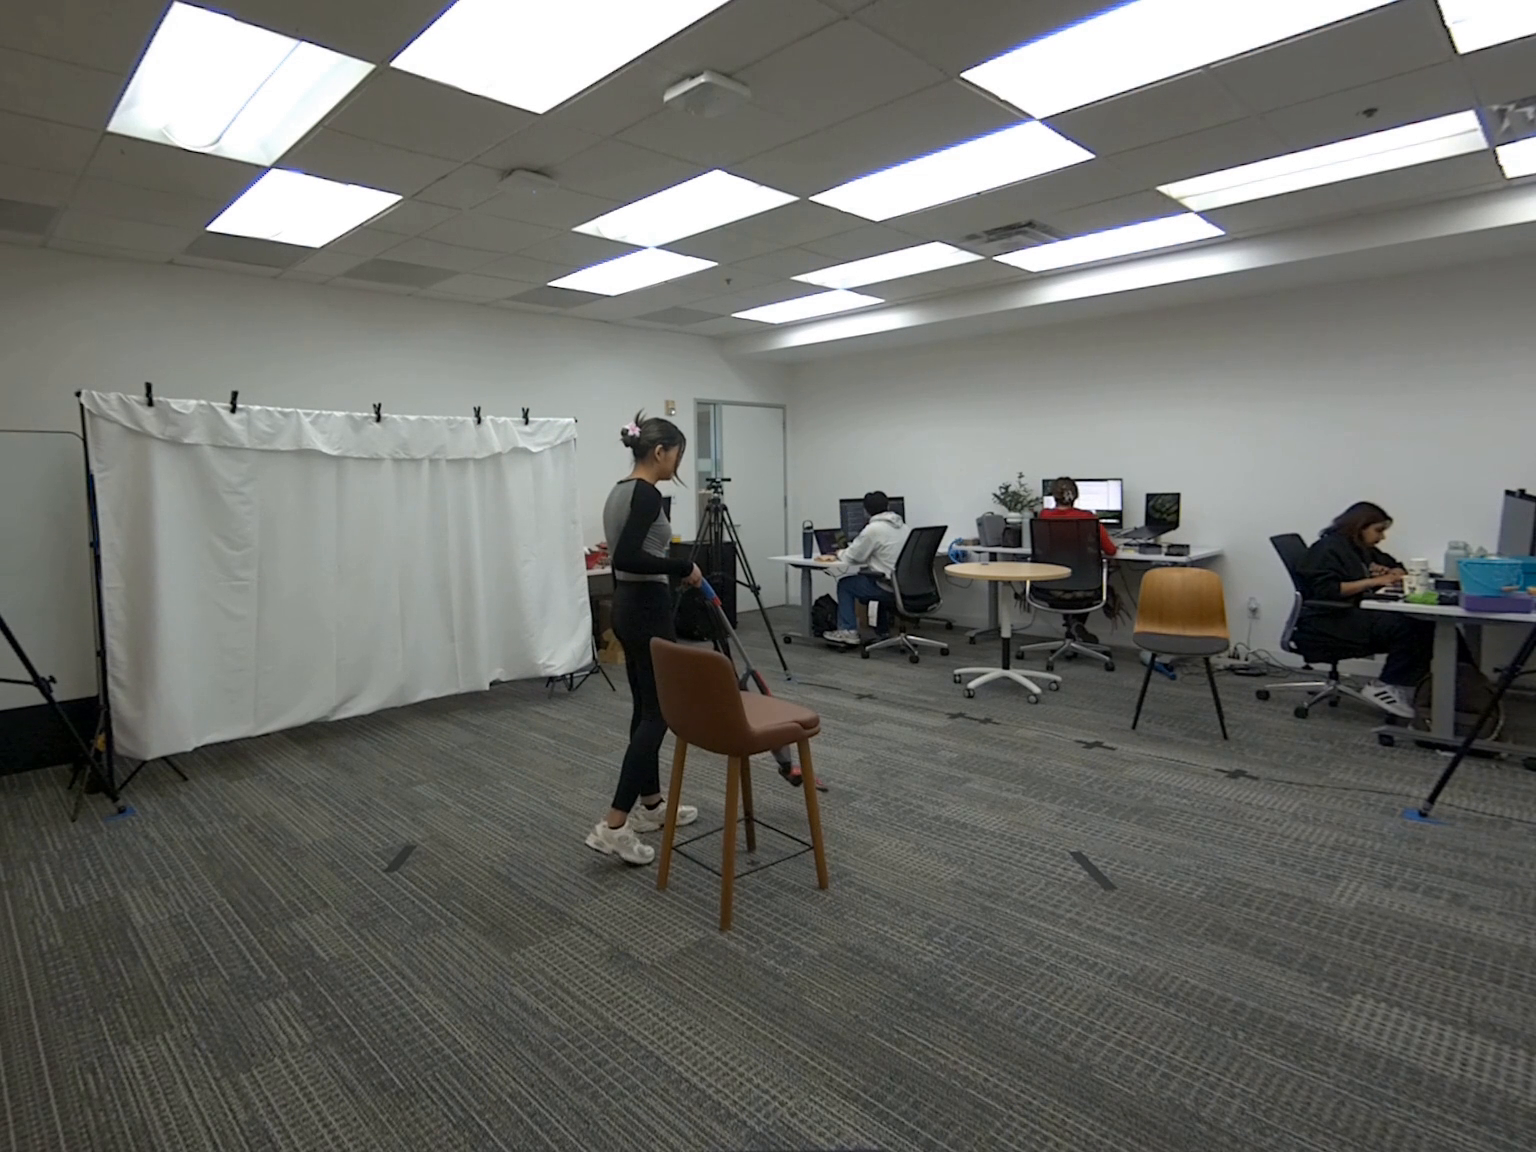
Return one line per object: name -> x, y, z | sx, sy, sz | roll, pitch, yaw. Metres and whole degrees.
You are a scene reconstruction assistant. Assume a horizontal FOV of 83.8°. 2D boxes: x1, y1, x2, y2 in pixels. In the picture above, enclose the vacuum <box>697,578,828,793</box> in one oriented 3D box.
vacuum -> -0.098, 0.389, 3.374 | 0.143, 1.027, 0.259 | -34, 19, -20
